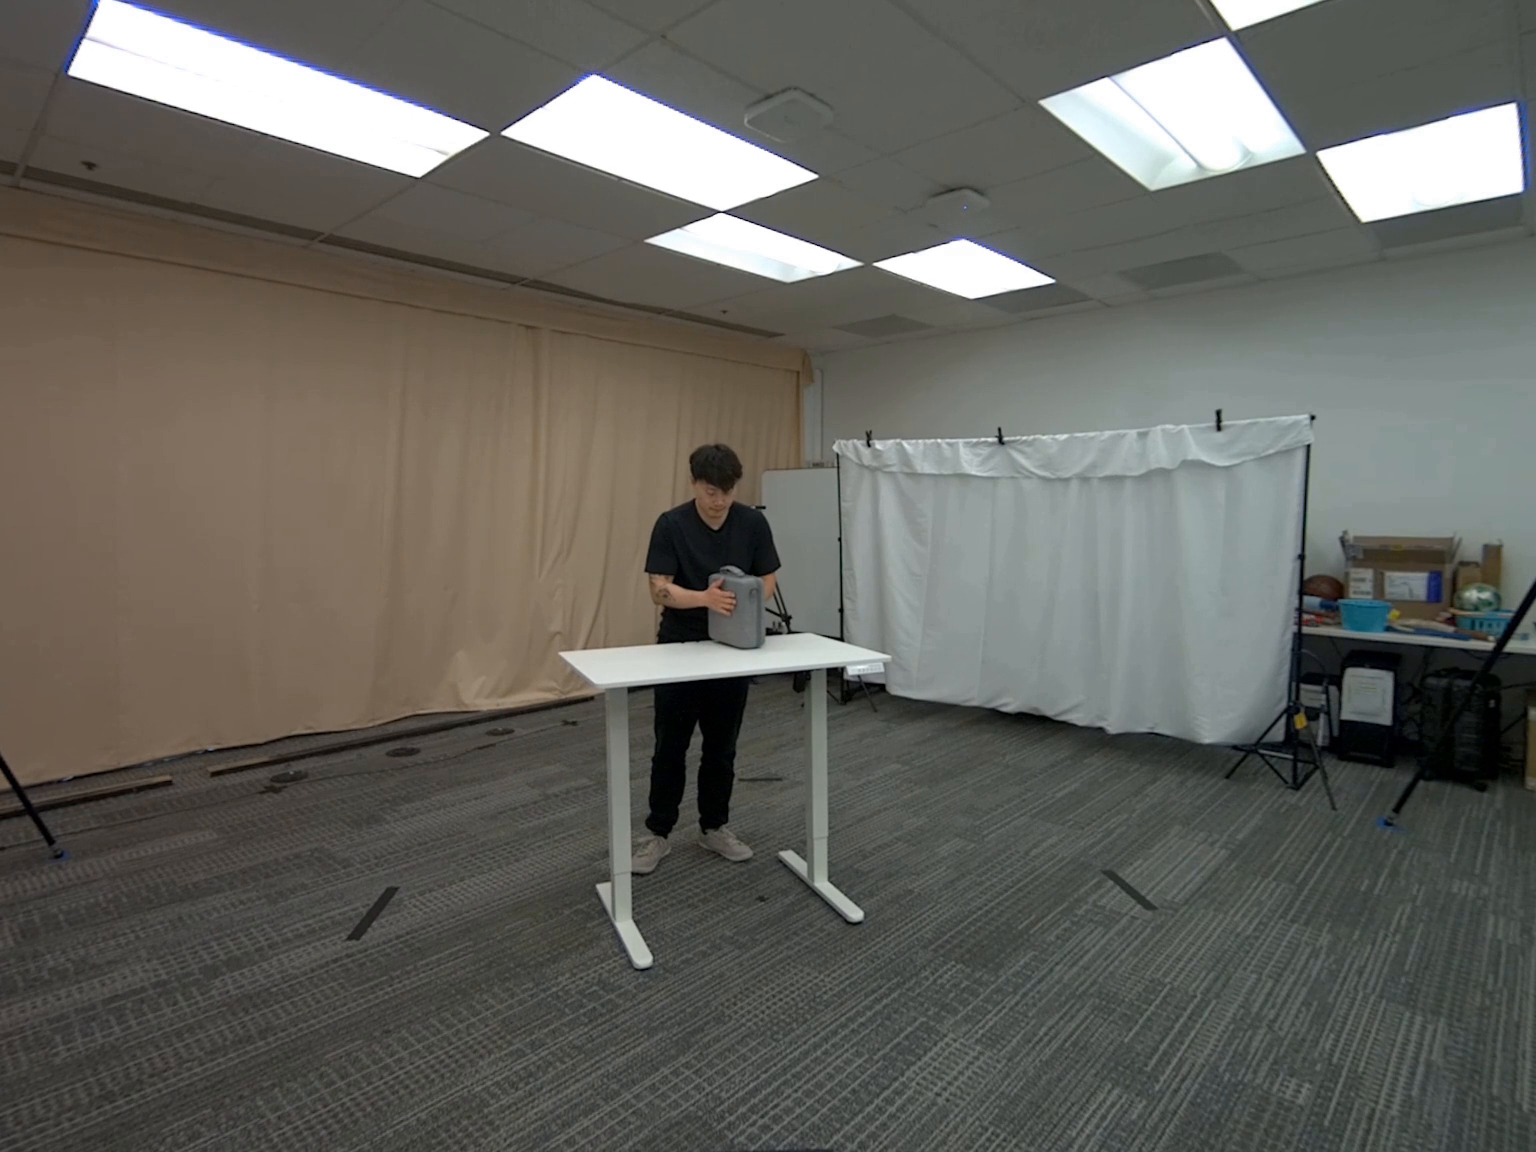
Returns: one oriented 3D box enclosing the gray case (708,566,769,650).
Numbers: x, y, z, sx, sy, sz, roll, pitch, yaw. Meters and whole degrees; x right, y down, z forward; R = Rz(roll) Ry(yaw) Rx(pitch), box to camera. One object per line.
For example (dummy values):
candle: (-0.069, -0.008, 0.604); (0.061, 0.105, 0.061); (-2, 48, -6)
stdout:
gray case: (-0.116, 0.120, 3.066); (0.101, 0.260, 0.265); (-4, 6, -32)
